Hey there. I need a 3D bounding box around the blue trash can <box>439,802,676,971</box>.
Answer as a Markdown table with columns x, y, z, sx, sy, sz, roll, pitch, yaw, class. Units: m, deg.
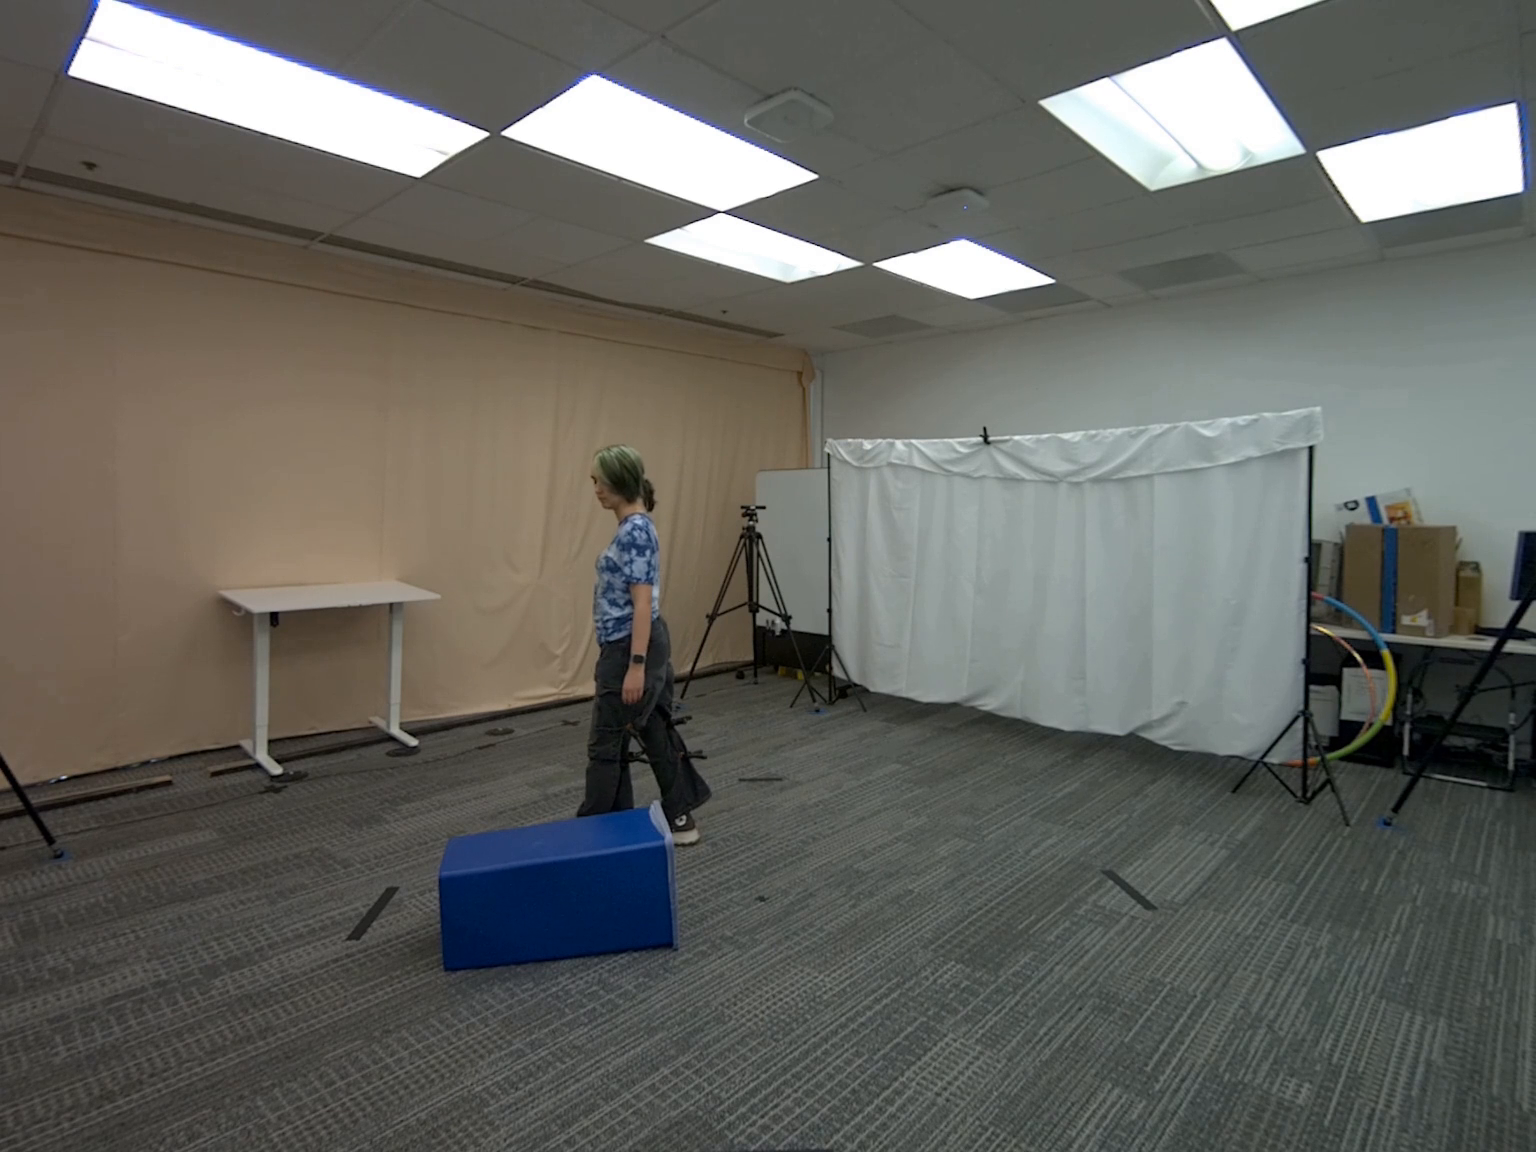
| x | y | z | sx | sy | sz | roll | pitch | yaw | class |
| --- | --- | --- | --- | --- | --- | --- | --- | --- | --- |
| -0.672 | 0.997 | 2.722 | 0.704 | 0.373 | 0.384 | -3 | 5 | -13 | blue trash can |
